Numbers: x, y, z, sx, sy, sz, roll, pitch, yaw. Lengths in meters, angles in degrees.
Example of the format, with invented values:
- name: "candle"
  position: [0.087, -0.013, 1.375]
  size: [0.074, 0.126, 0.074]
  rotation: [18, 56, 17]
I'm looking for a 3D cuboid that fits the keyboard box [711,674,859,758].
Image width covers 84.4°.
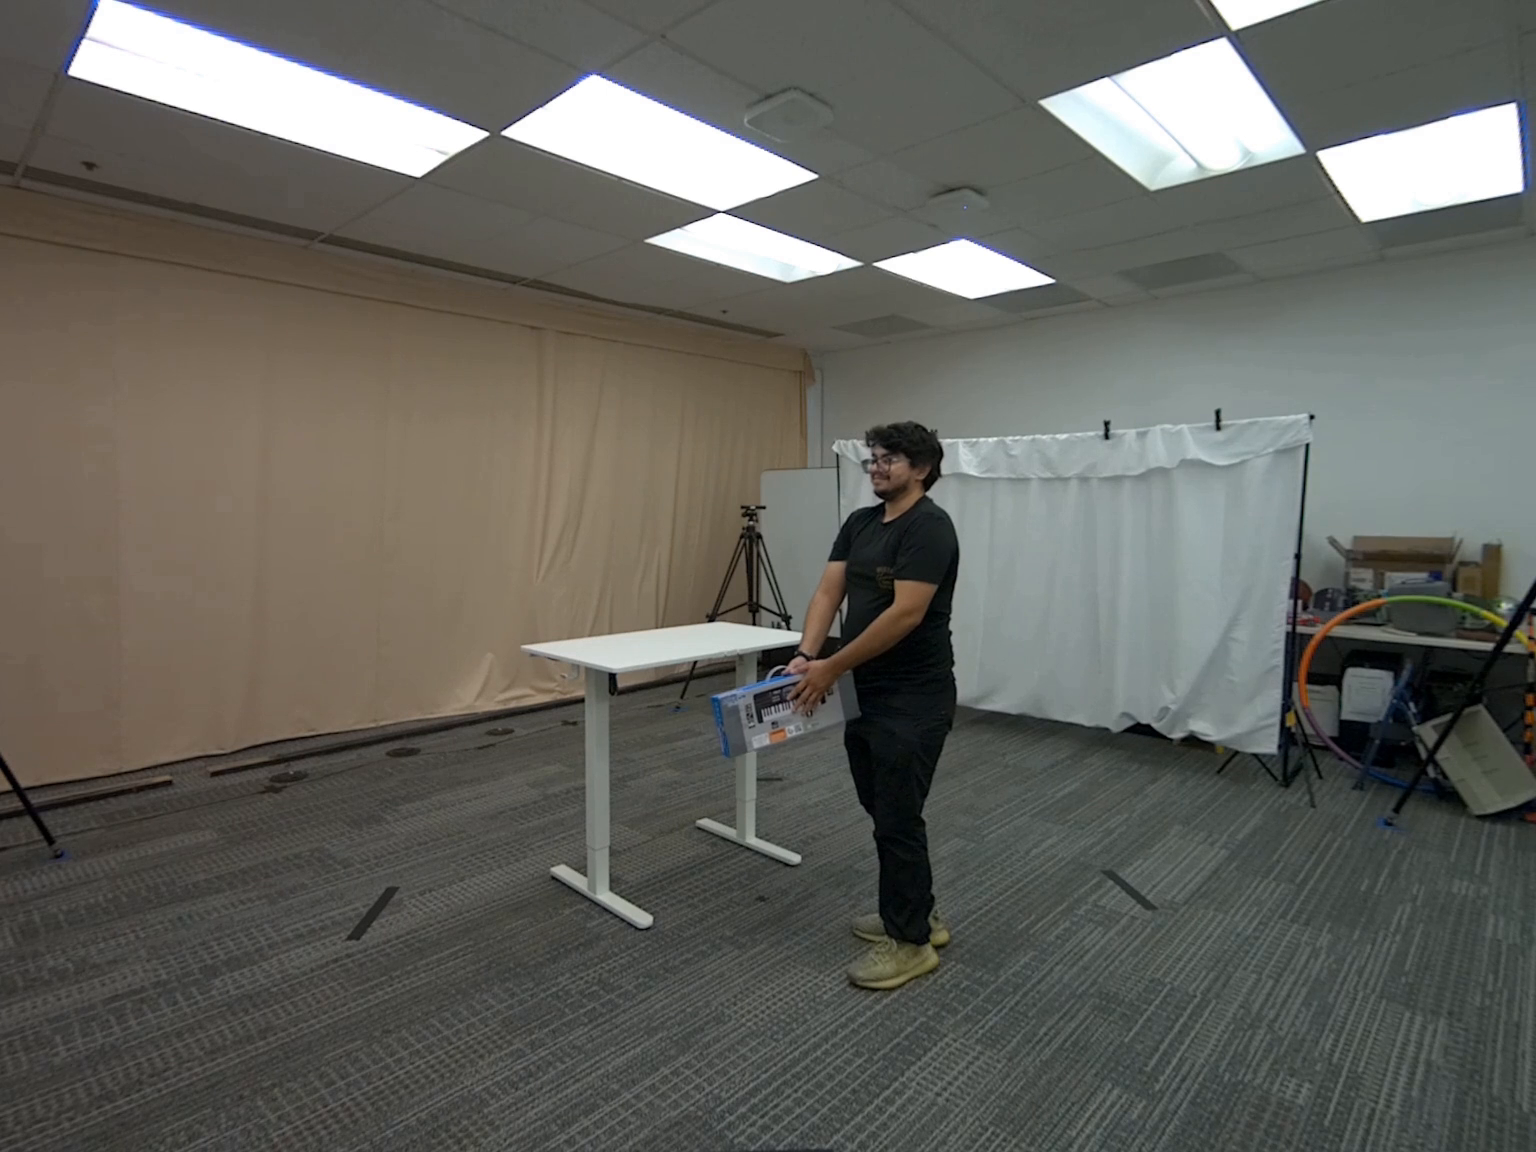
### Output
- name: "keyboard box"
  position: [0.064, 0.384, 2.427]
  size: [0.428, 0.175, 0.060]
  rotation: [-13, 3, -23]
